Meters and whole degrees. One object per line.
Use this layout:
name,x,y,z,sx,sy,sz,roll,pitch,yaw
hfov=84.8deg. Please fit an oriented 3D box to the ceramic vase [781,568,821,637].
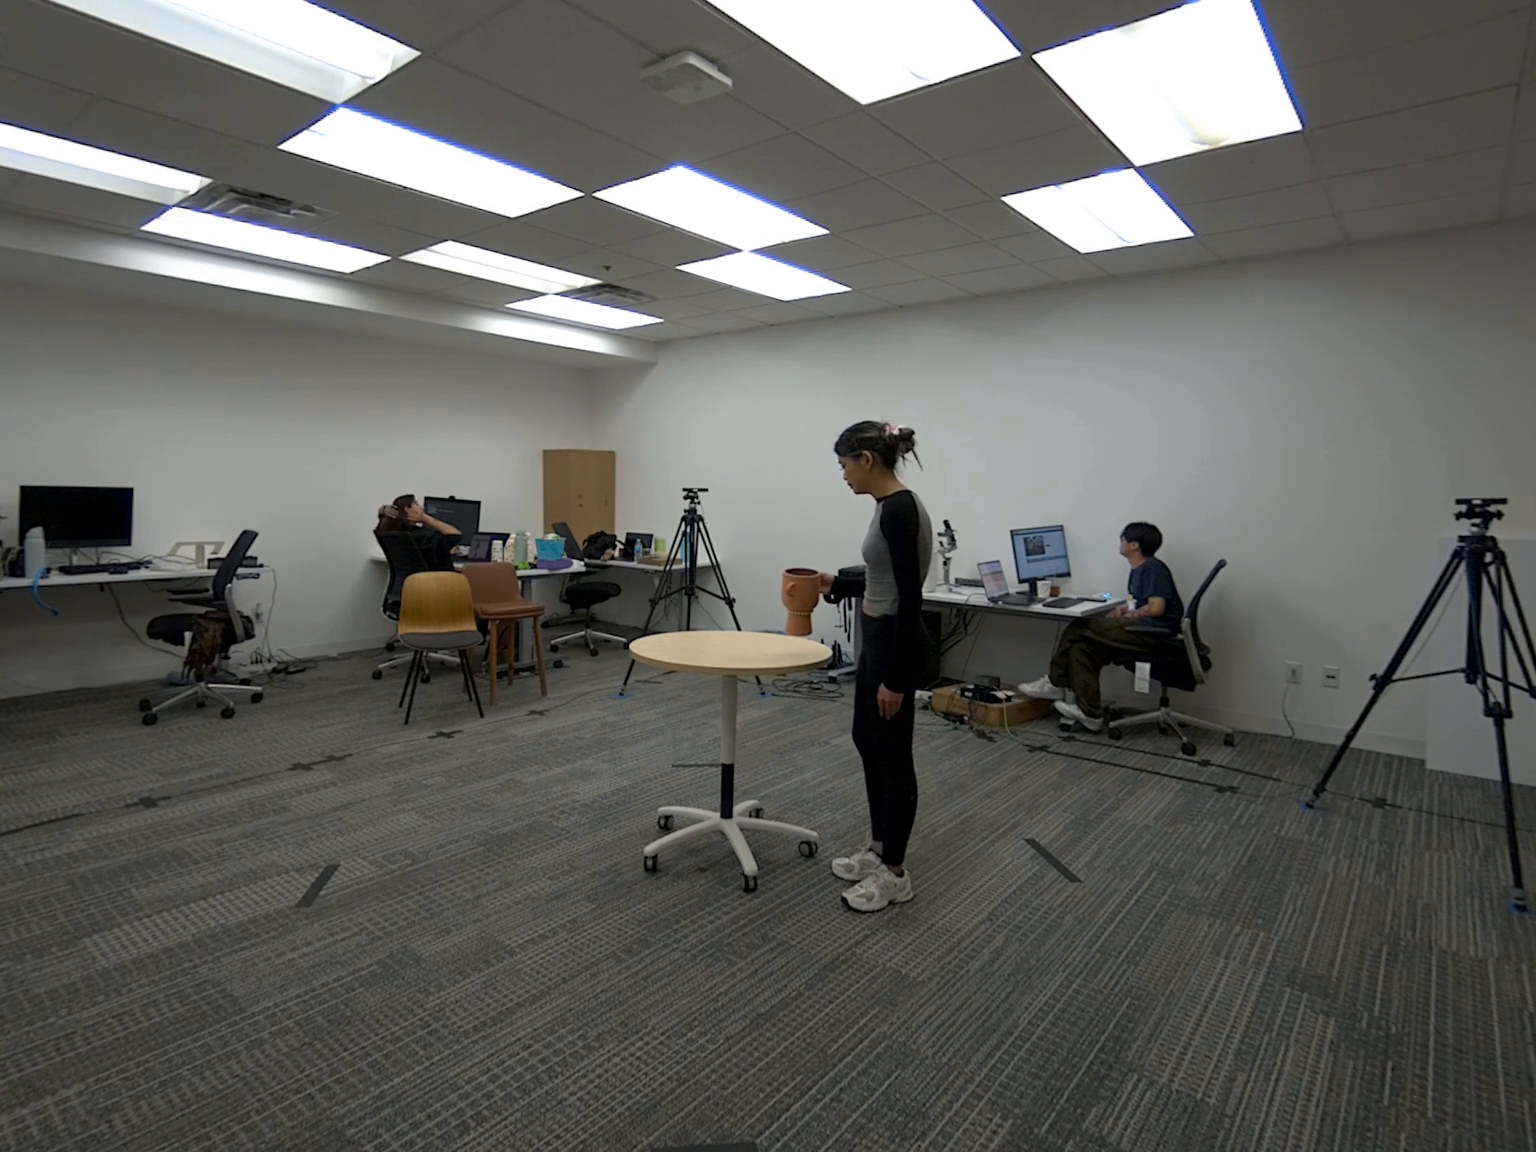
ceramic vase,0.106,0.095,2.988,0.156,0.217,0.138,-1,13,-16
